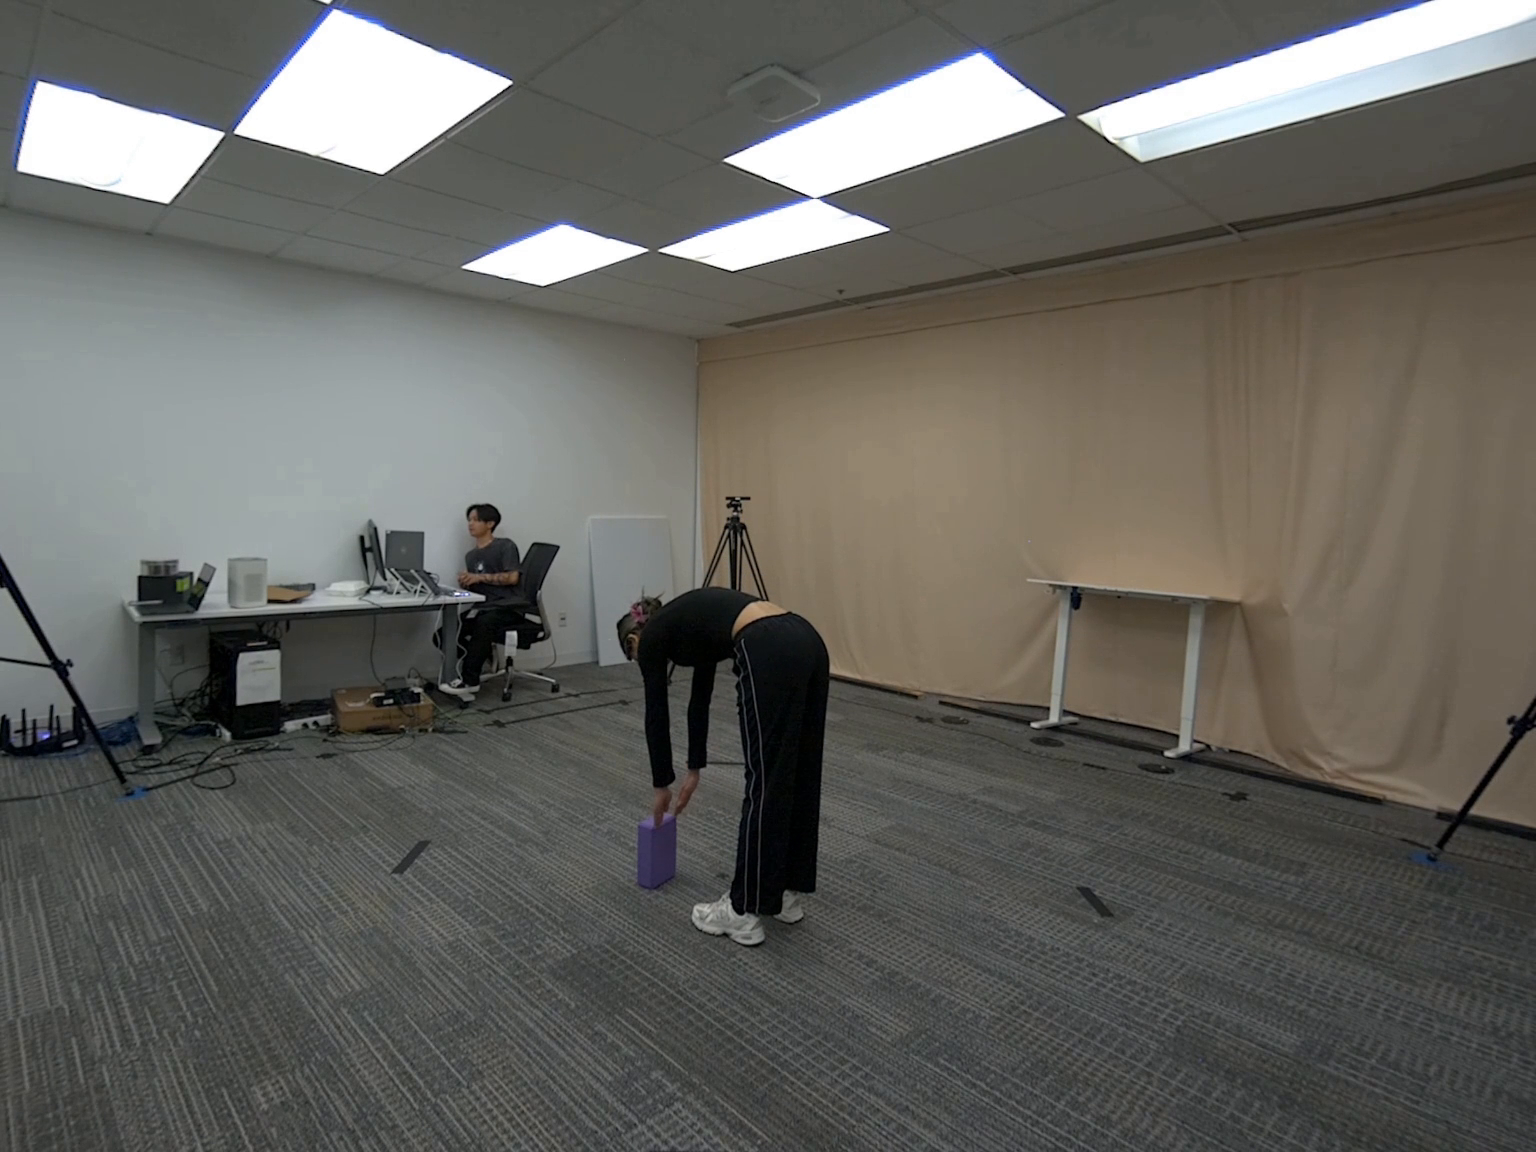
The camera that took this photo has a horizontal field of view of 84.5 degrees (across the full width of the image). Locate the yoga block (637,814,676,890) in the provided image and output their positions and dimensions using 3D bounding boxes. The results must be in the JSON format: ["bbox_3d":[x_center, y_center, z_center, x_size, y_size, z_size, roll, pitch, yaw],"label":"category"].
[{"bbox_3d":[-0.407,0.991,3.042,0.078,0.228,0.146,4,5,30],"label":"yoga block"}]
